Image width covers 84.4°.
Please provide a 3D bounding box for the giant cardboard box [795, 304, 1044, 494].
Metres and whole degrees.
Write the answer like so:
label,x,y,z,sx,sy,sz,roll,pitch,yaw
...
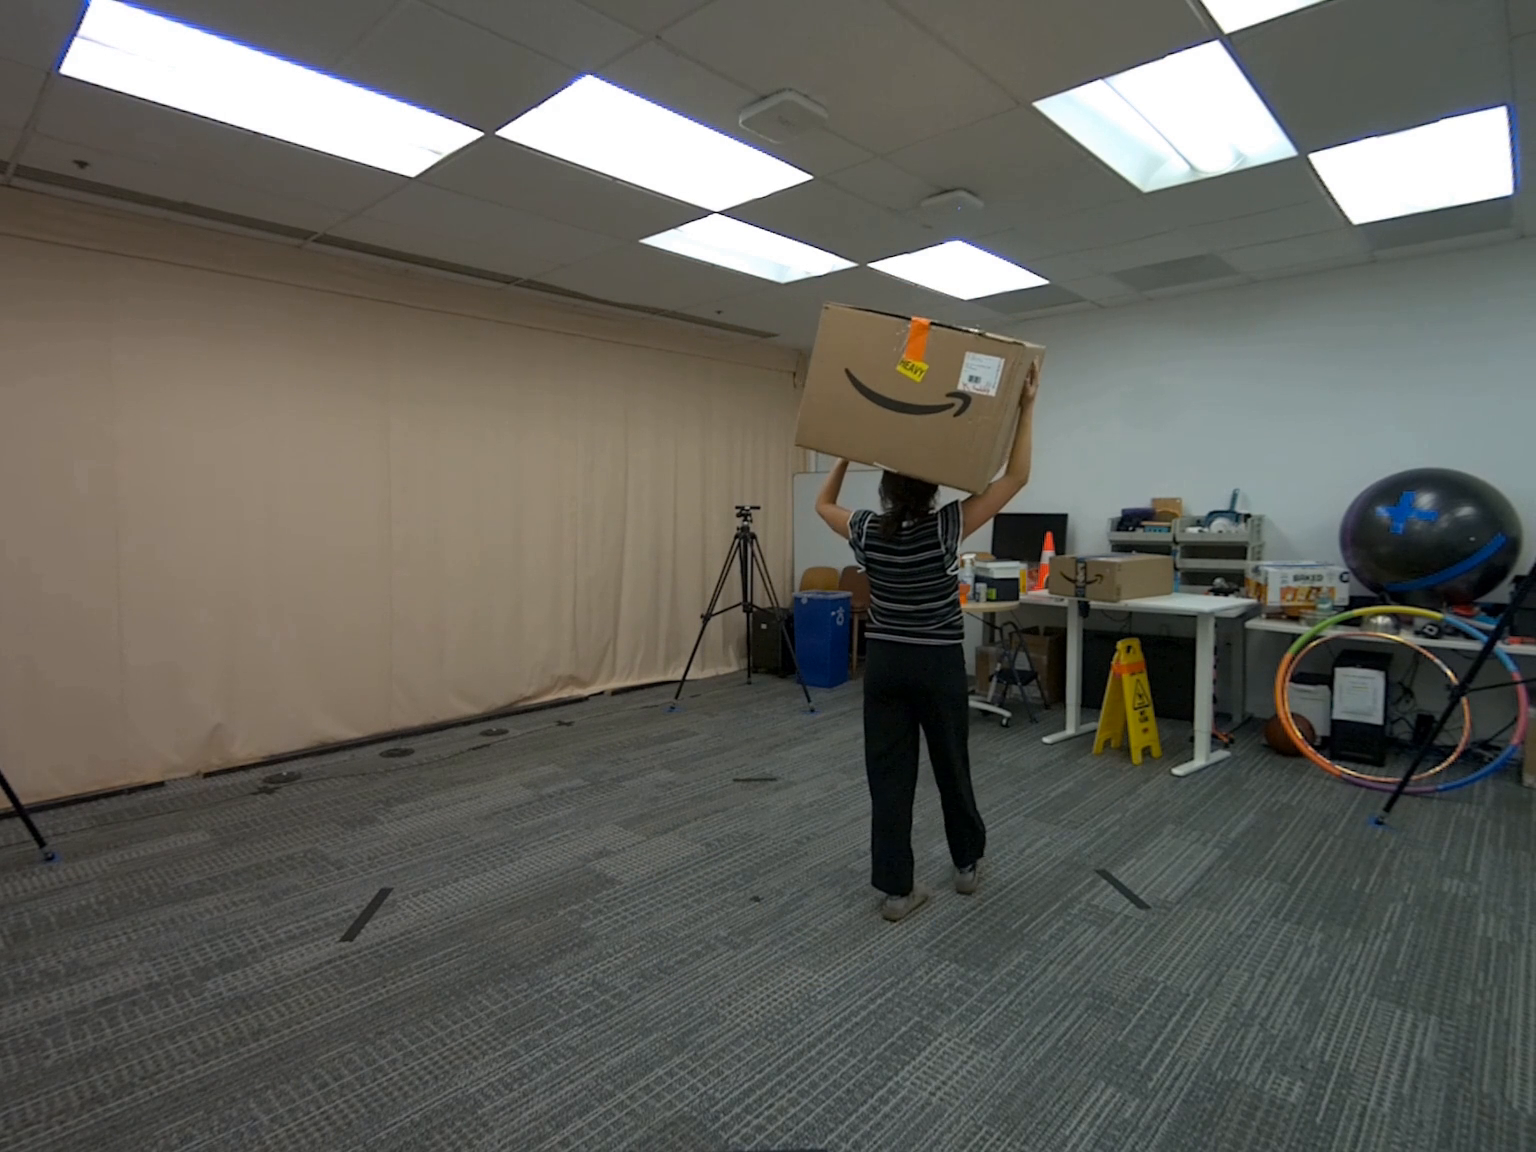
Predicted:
label,x,y,z,sx,sy,sz,roll,pitch,yaw
giant cardboard box,0.557,-0.624,2.841,0.590,0.423,1.011,18,19,17
